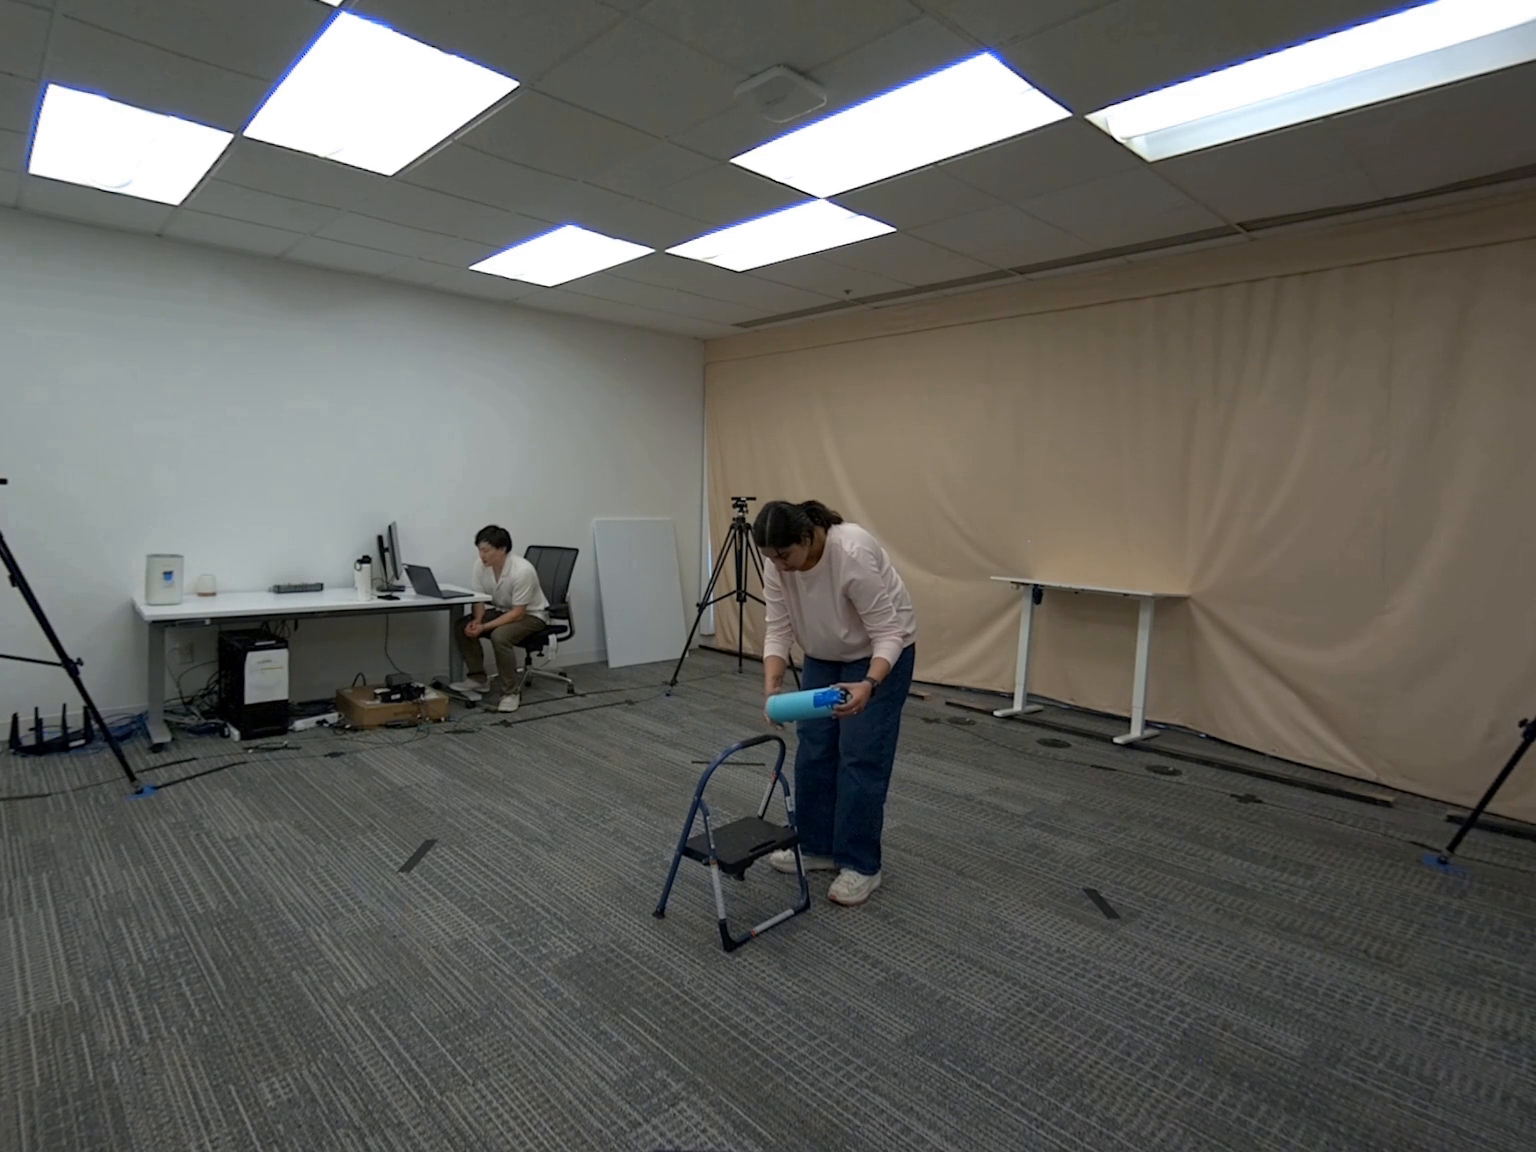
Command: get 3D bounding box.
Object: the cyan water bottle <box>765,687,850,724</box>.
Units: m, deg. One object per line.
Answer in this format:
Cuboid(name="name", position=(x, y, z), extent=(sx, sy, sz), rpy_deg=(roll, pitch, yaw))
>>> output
Cuboid(name="cyan water bottle", position=(0.126, 0.410, 2.670), extent=(0.288, 0.093, 0.090), rpy_deg=(-13, -4, 30))
